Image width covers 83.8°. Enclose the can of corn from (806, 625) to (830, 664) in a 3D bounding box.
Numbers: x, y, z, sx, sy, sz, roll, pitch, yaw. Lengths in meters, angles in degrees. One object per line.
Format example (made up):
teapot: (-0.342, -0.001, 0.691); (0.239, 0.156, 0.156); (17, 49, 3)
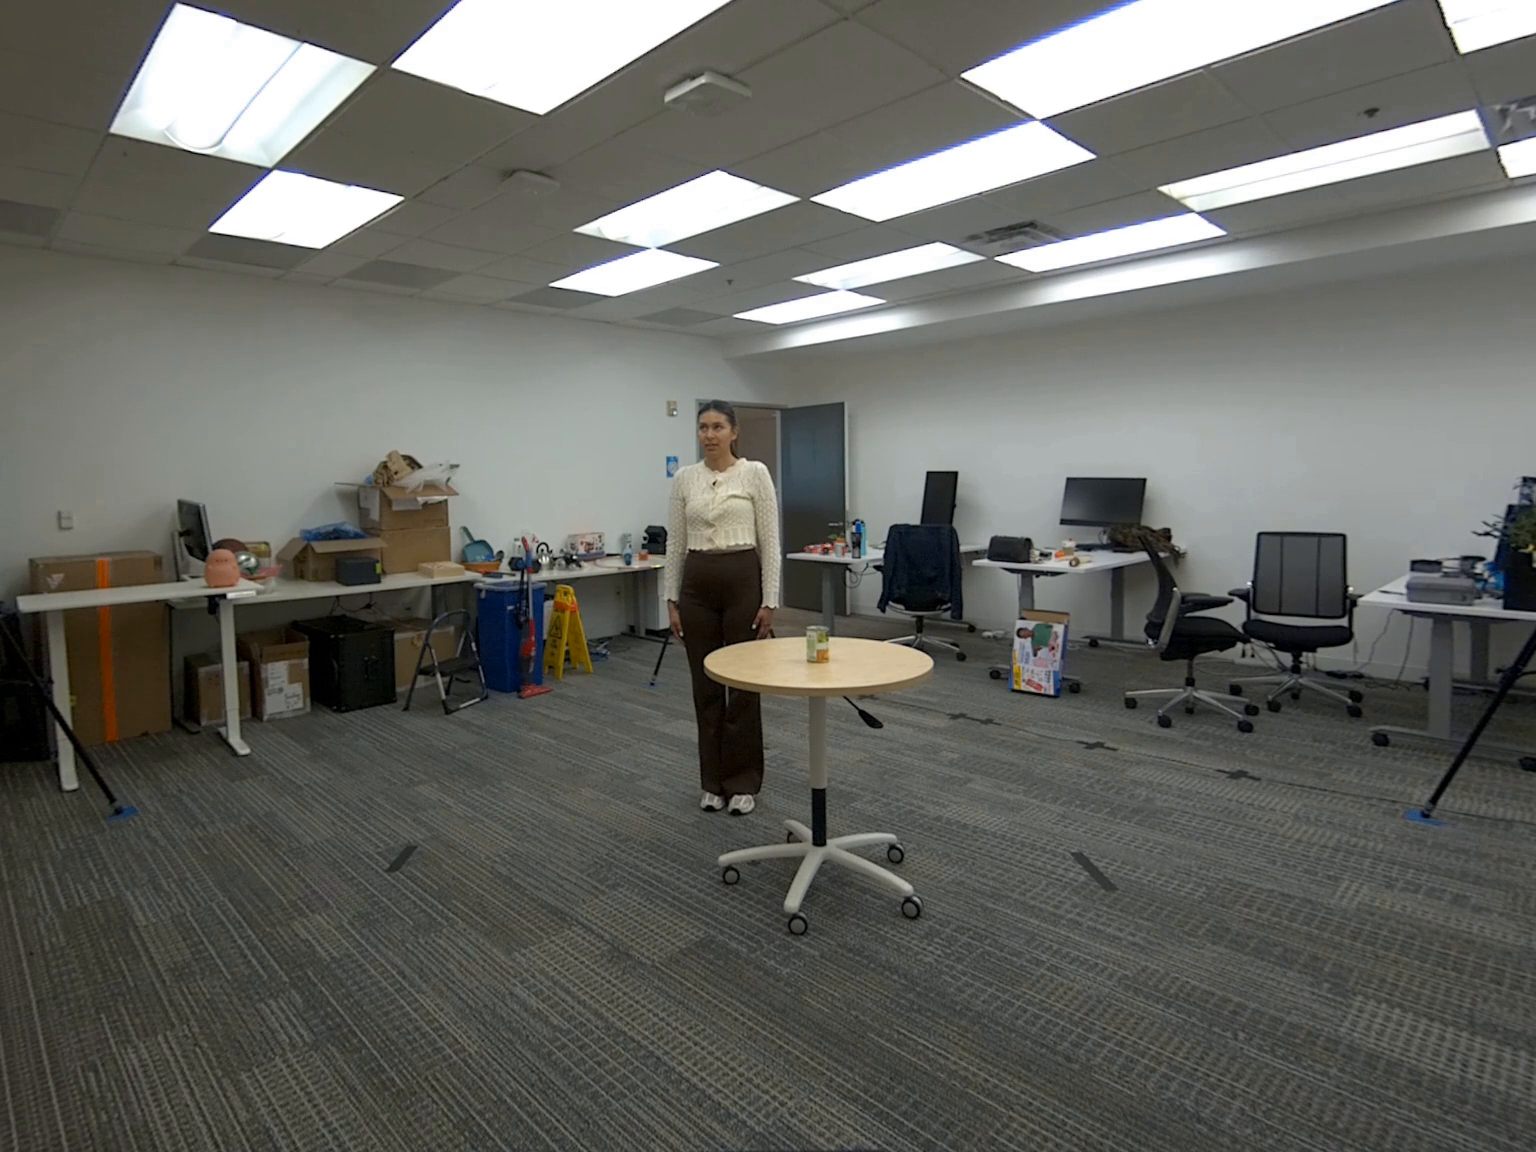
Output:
can of corn: (0.173, 0.232, 2.853); (0.074, 0.110, 0.075); (0, 8, -2)
